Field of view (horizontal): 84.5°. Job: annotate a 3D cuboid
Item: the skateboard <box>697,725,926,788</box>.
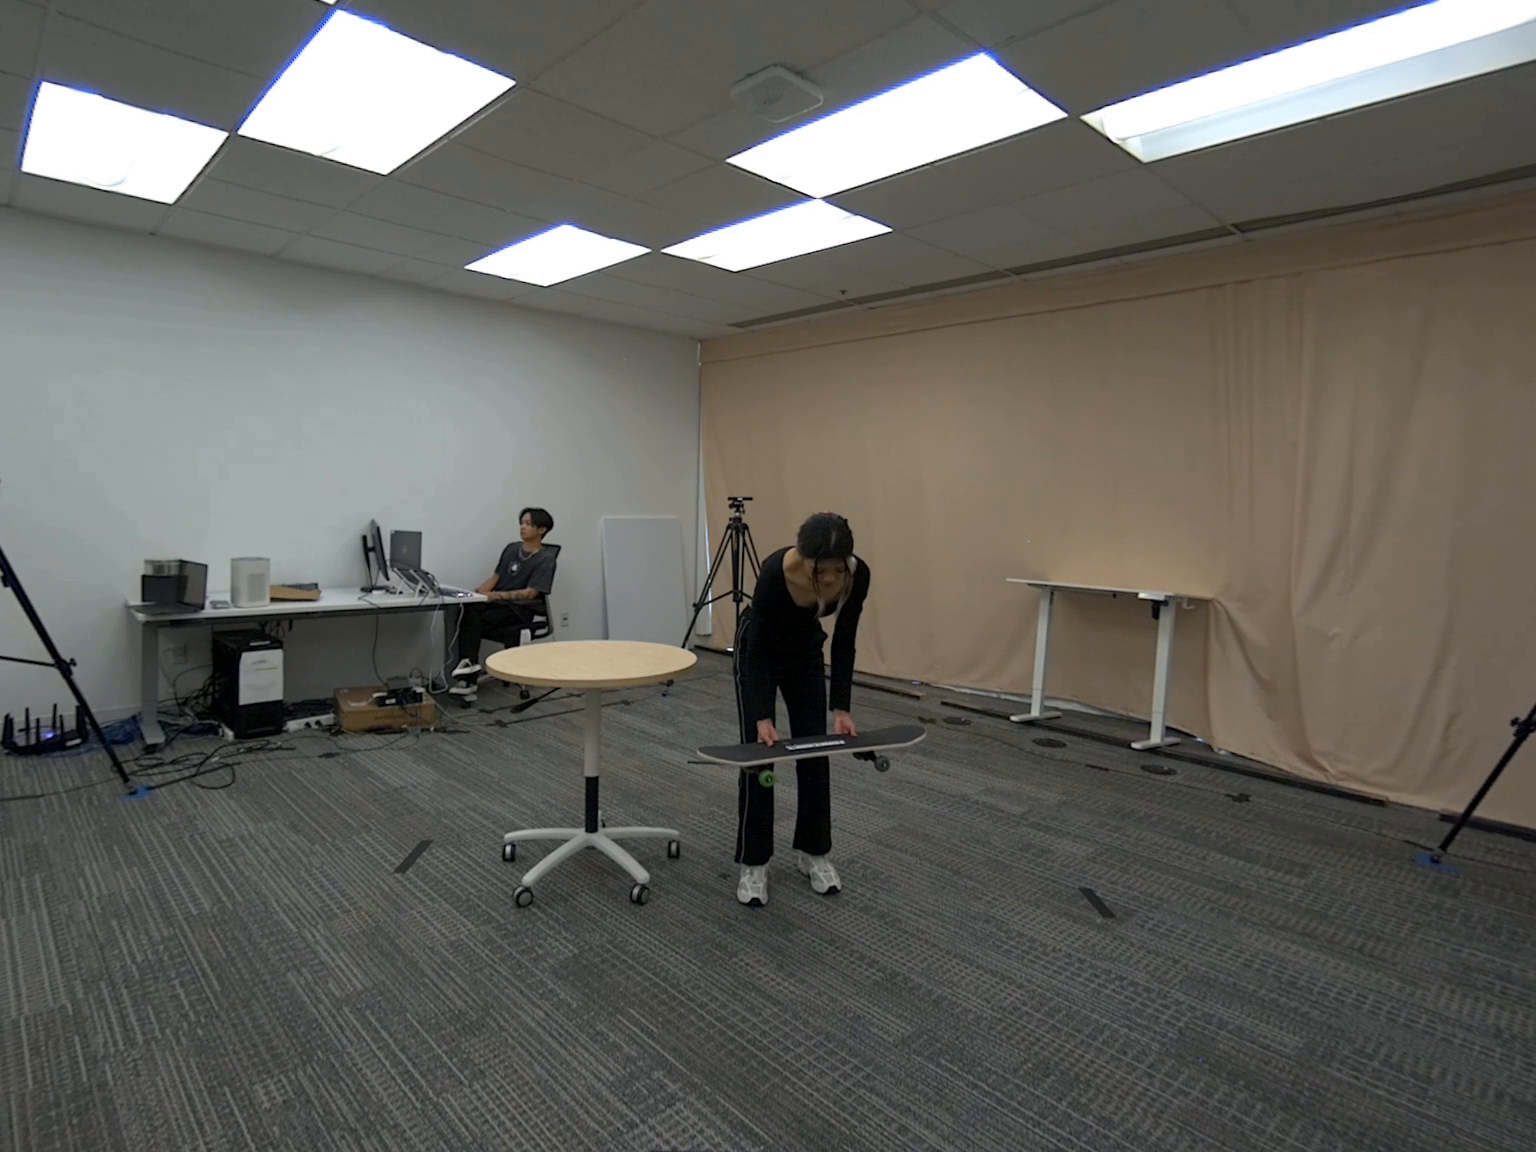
[{"bbox_3d":[0.145,0.582,2.698,0.775,0.110,0.196,-2,4,-18],"label":"skateboard"}]
